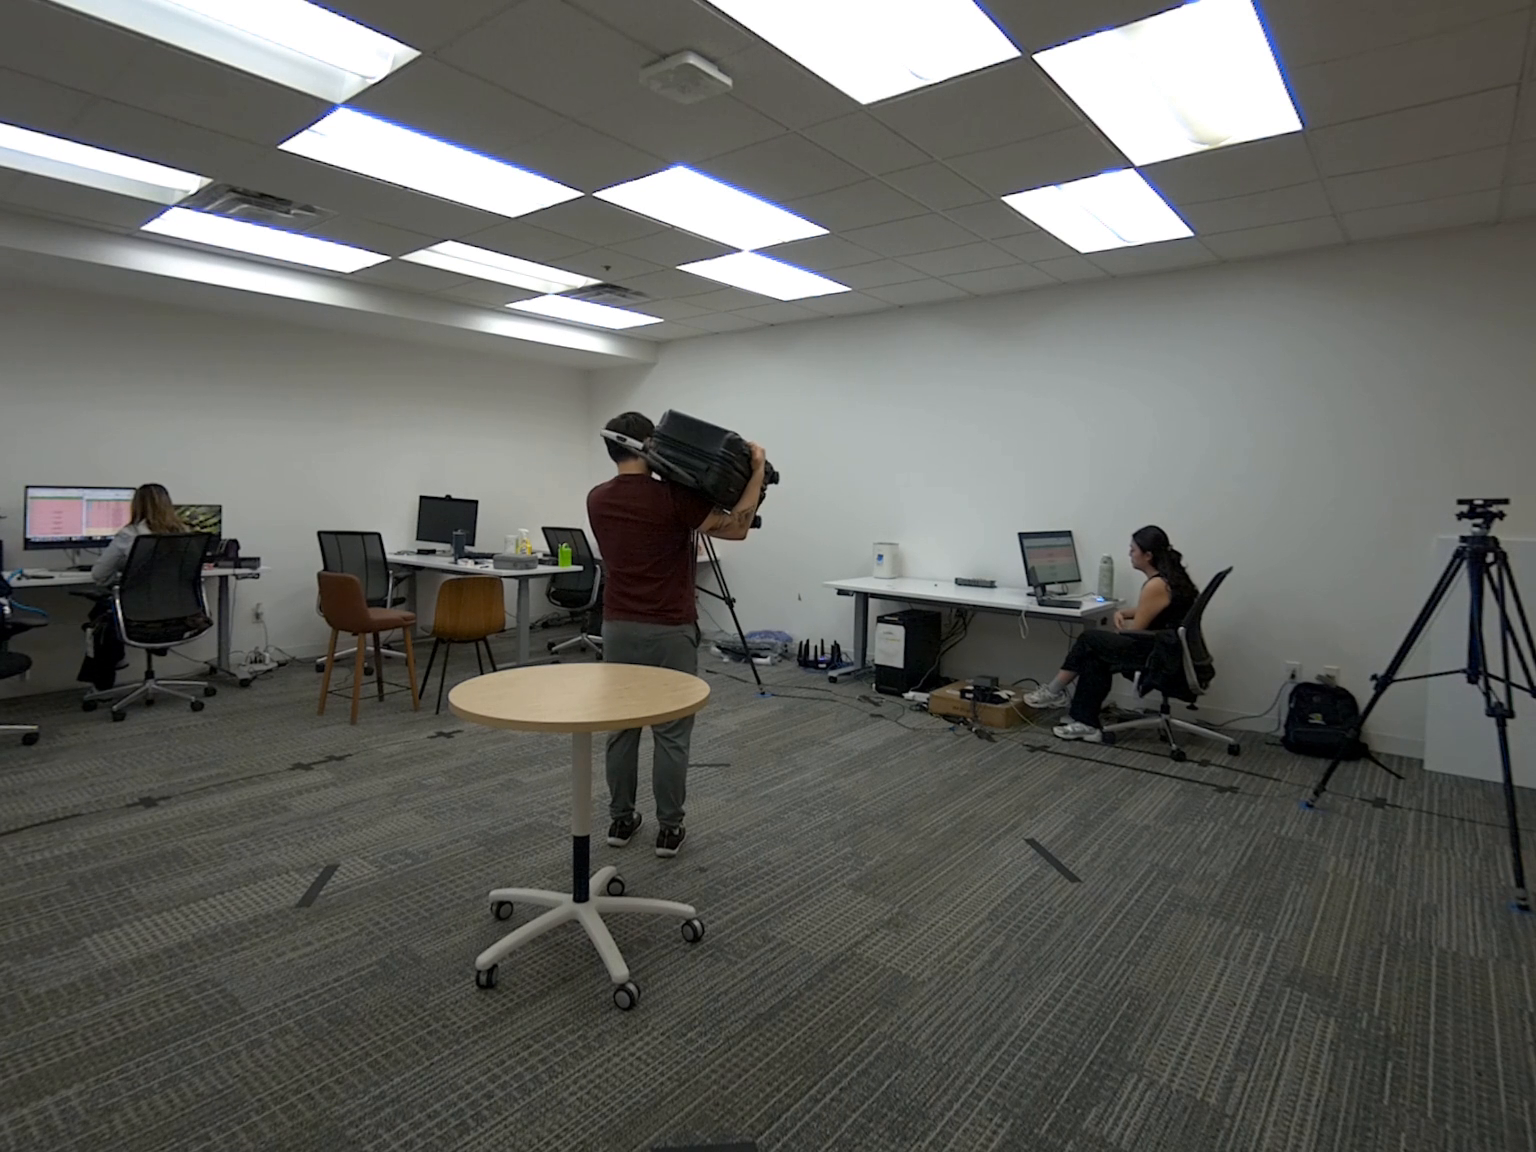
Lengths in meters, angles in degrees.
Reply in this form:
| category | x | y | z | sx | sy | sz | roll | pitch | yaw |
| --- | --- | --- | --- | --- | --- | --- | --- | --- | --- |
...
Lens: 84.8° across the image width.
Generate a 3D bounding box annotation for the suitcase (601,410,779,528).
| category | x | y | z | sx | sy | sz | roll | pitch | yaw |
| --- | --- | --- | --- | --- | --- | --- | --- | --- | --- |
| suitcase | -0.284 | -0.462 | 3.104 | 0.395 | 0.257 | 0.949 | 24 | -2 | 21 |
